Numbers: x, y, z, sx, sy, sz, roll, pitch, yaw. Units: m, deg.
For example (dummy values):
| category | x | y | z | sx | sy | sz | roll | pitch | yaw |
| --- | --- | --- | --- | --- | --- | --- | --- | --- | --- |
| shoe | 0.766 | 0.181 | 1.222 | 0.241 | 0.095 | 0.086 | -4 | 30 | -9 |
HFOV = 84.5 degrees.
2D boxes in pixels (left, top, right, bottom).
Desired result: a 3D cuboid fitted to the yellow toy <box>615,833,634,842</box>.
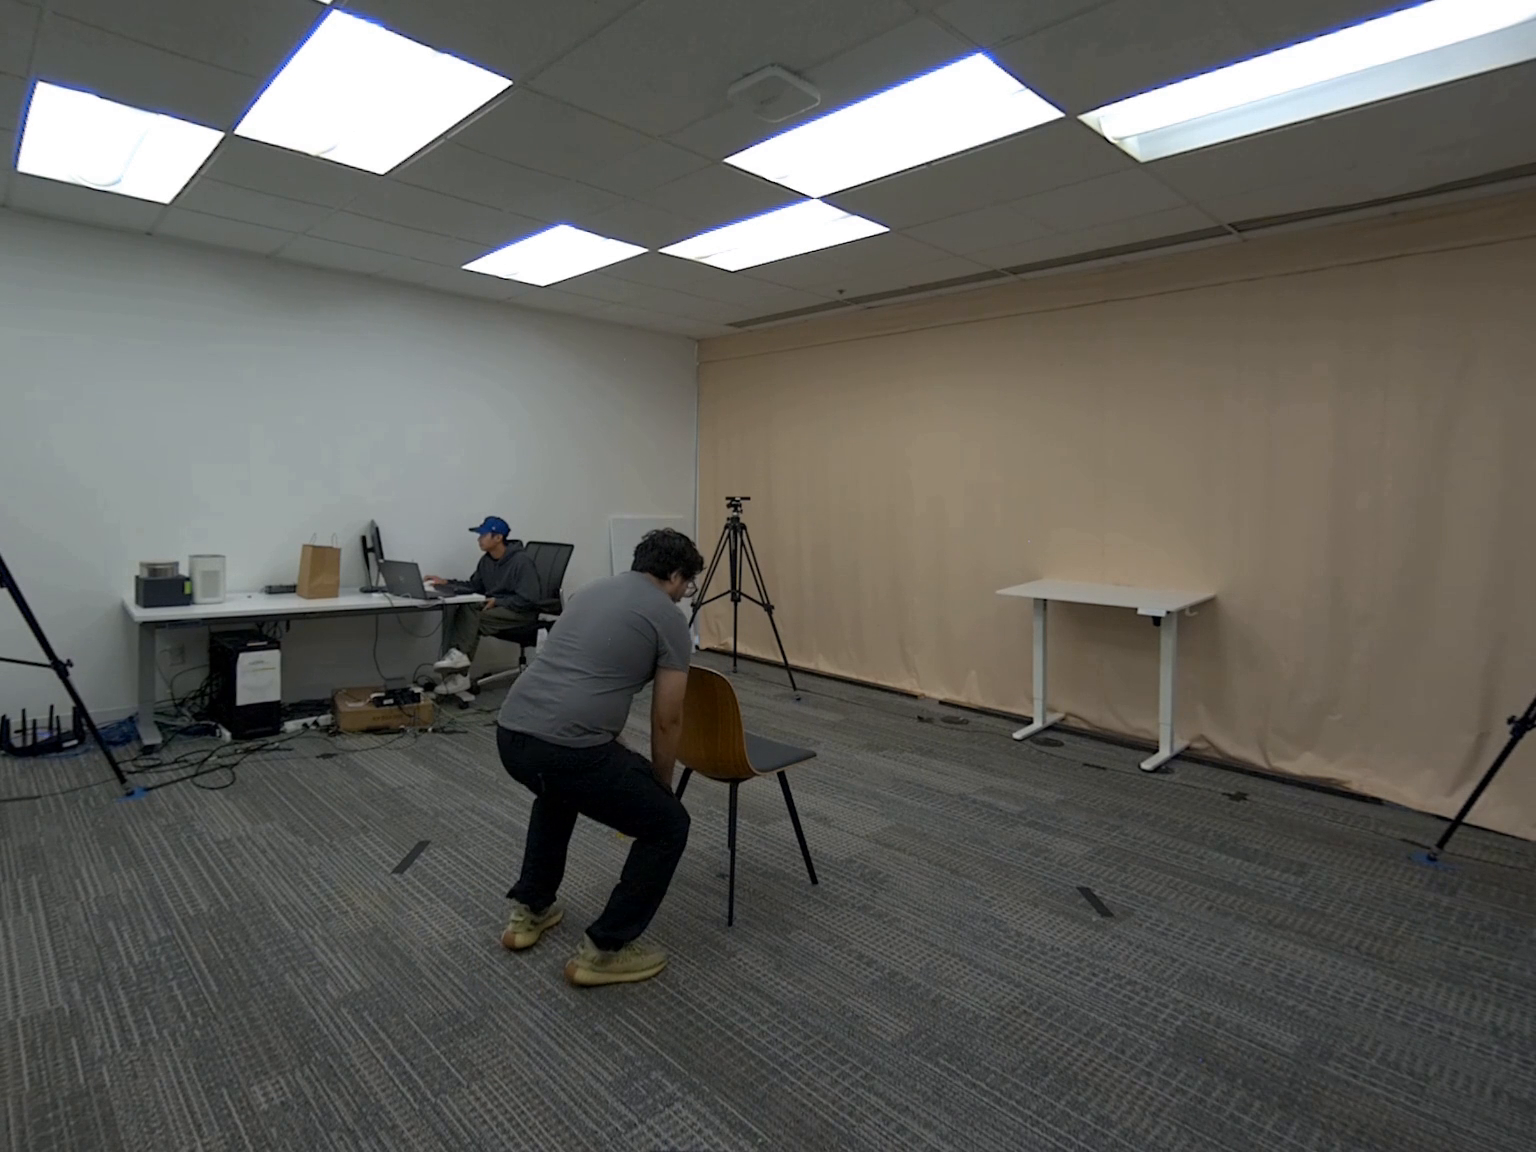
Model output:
| category | x | y | z | sx | sy | sz | roll | pitch | yaw |
| --- | --- | --- | --- | --- | --- | --- | --- | --- | --- |
| yellow toy | -0.396 | 0.743 | 2.746 | 0.197 | 0.233 | 0.199 | -9 | -19 | 38 |
